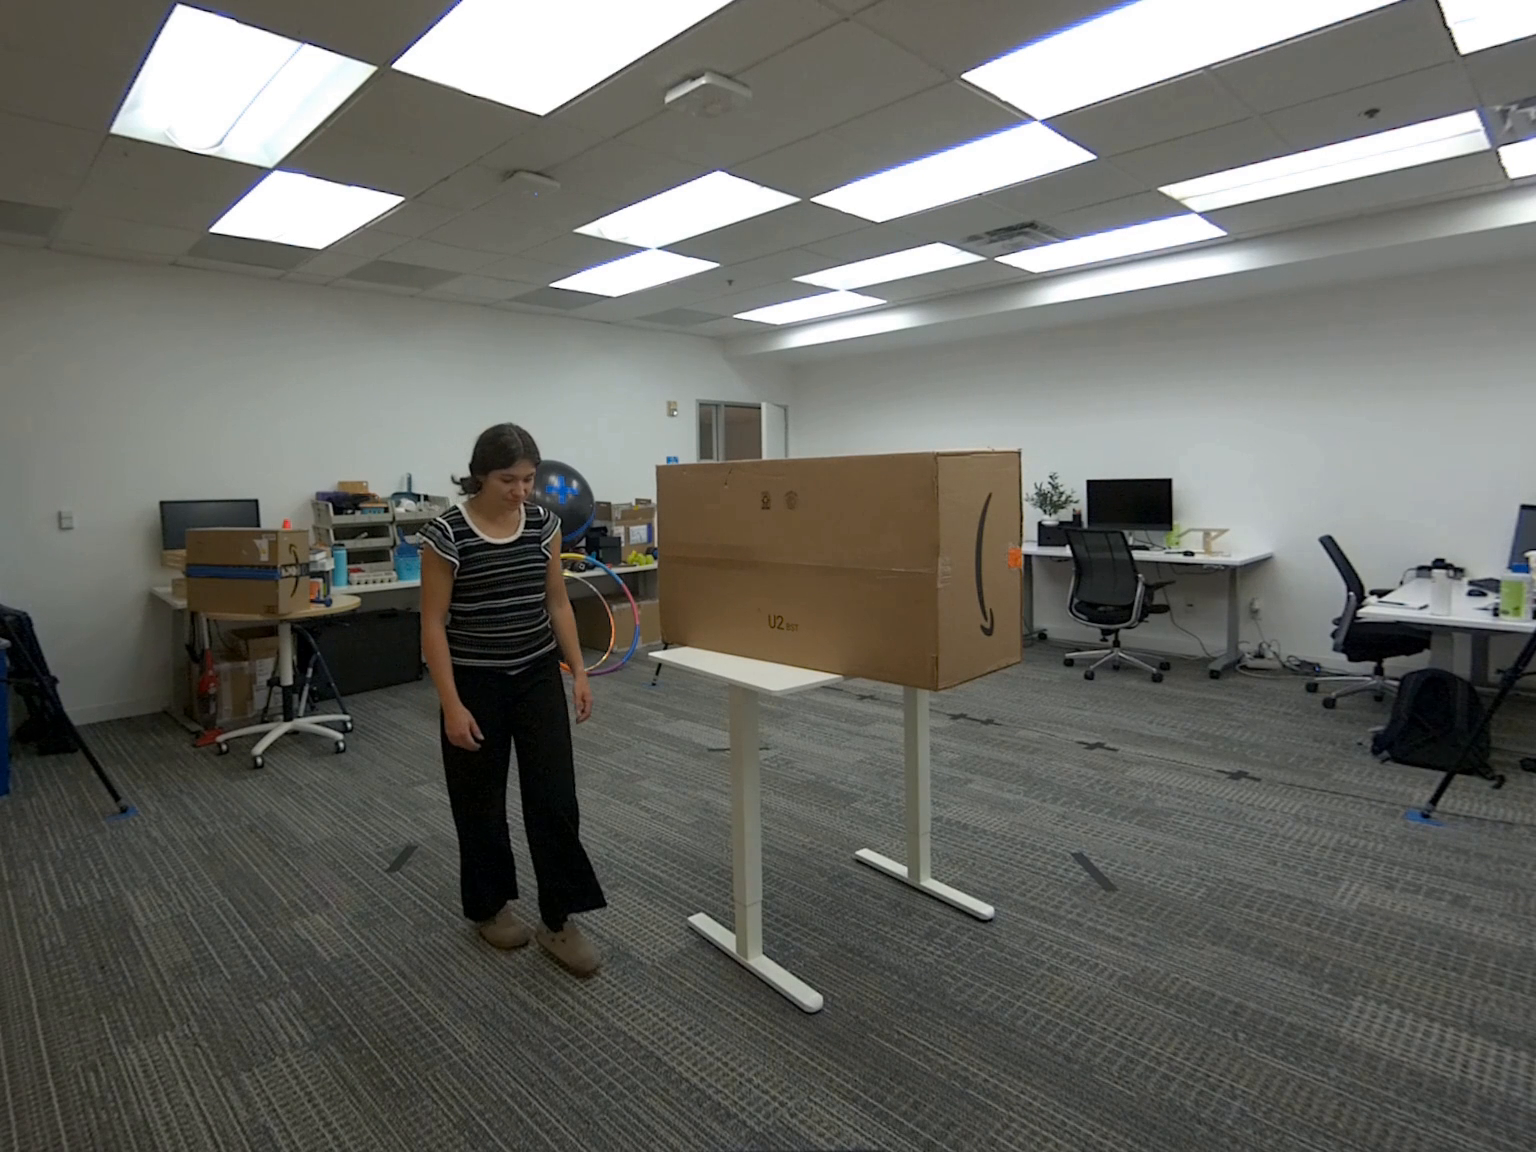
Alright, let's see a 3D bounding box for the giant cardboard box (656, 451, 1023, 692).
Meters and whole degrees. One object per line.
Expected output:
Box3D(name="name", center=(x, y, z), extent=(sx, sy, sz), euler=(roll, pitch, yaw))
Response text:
Box3D(name="giant cardboard box", center=(0.169, -0.061, 2.521), extent=(1.057, 0.575, 0.415), euler=(4, 7, 44))
